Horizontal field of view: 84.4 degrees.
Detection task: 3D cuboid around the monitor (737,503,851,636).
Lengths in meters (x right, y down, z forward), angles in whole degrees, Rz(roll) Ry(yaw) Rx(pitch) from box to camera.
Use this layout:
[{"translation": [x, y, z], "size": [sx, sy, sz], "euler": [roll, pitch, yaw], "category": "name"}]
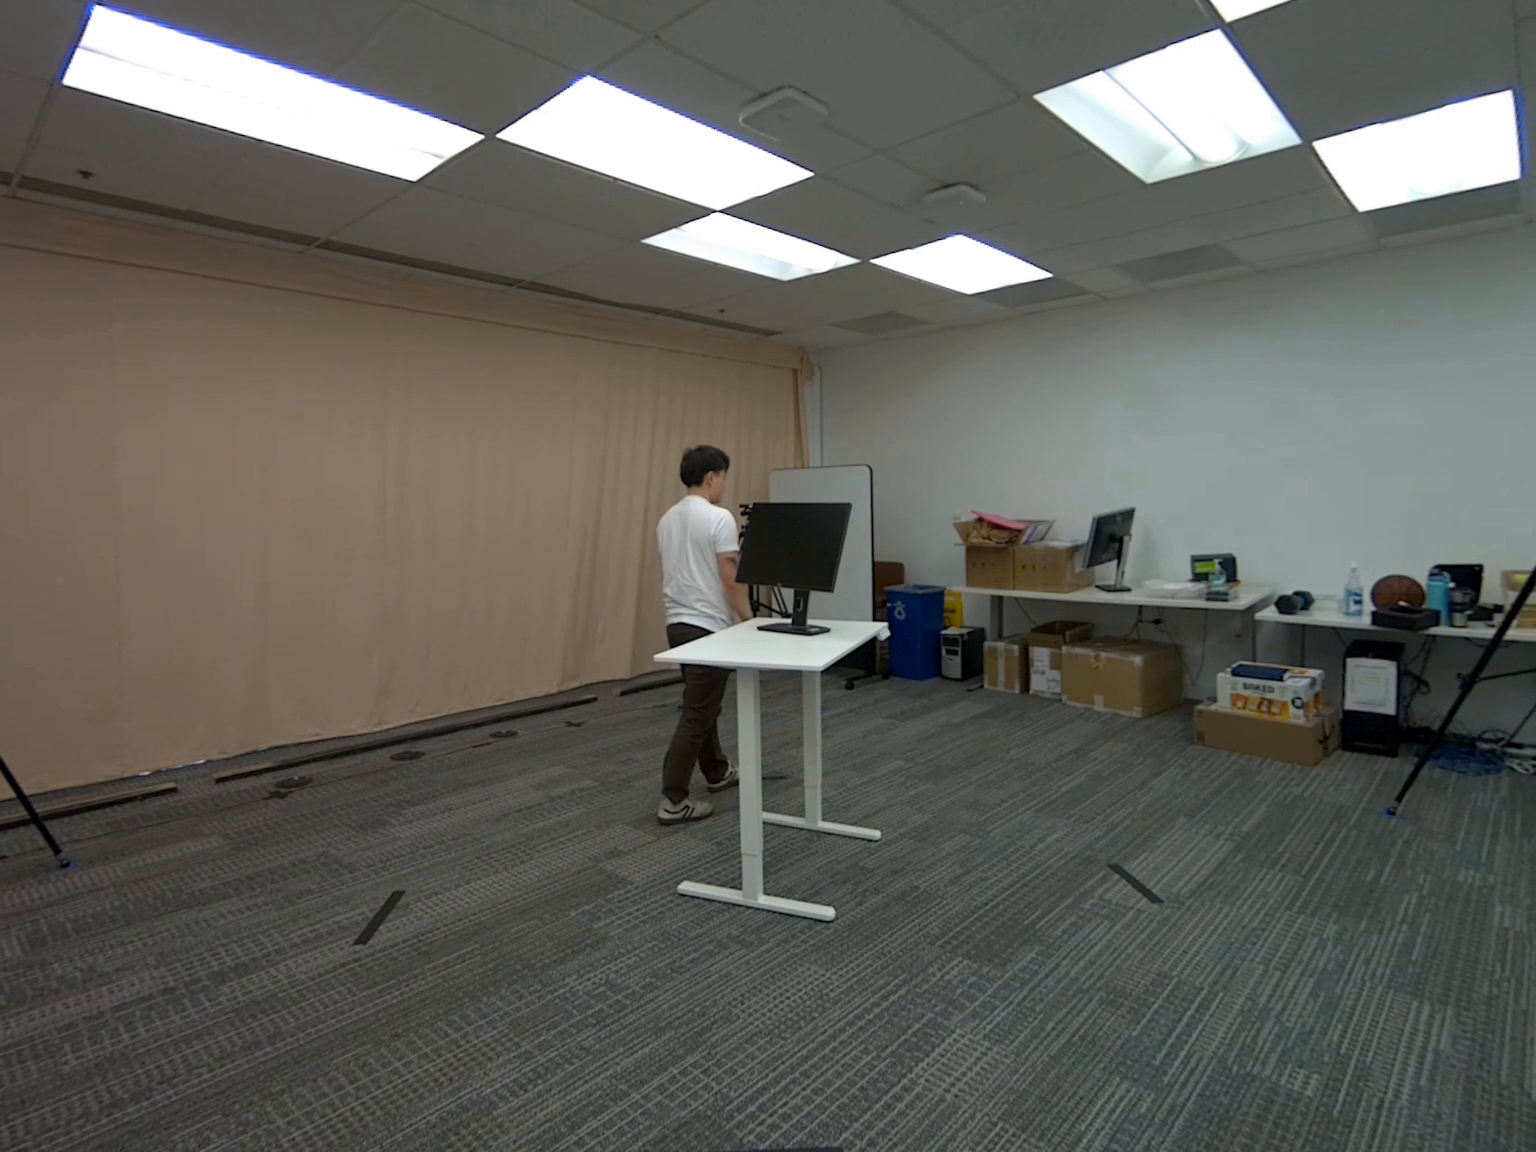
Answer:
[{"translation": [0.115, -0.034, 3.389], "size": [0.557, 0.522, 0.181], "euler": [4, 1, 44], "category": "monitor"}]
